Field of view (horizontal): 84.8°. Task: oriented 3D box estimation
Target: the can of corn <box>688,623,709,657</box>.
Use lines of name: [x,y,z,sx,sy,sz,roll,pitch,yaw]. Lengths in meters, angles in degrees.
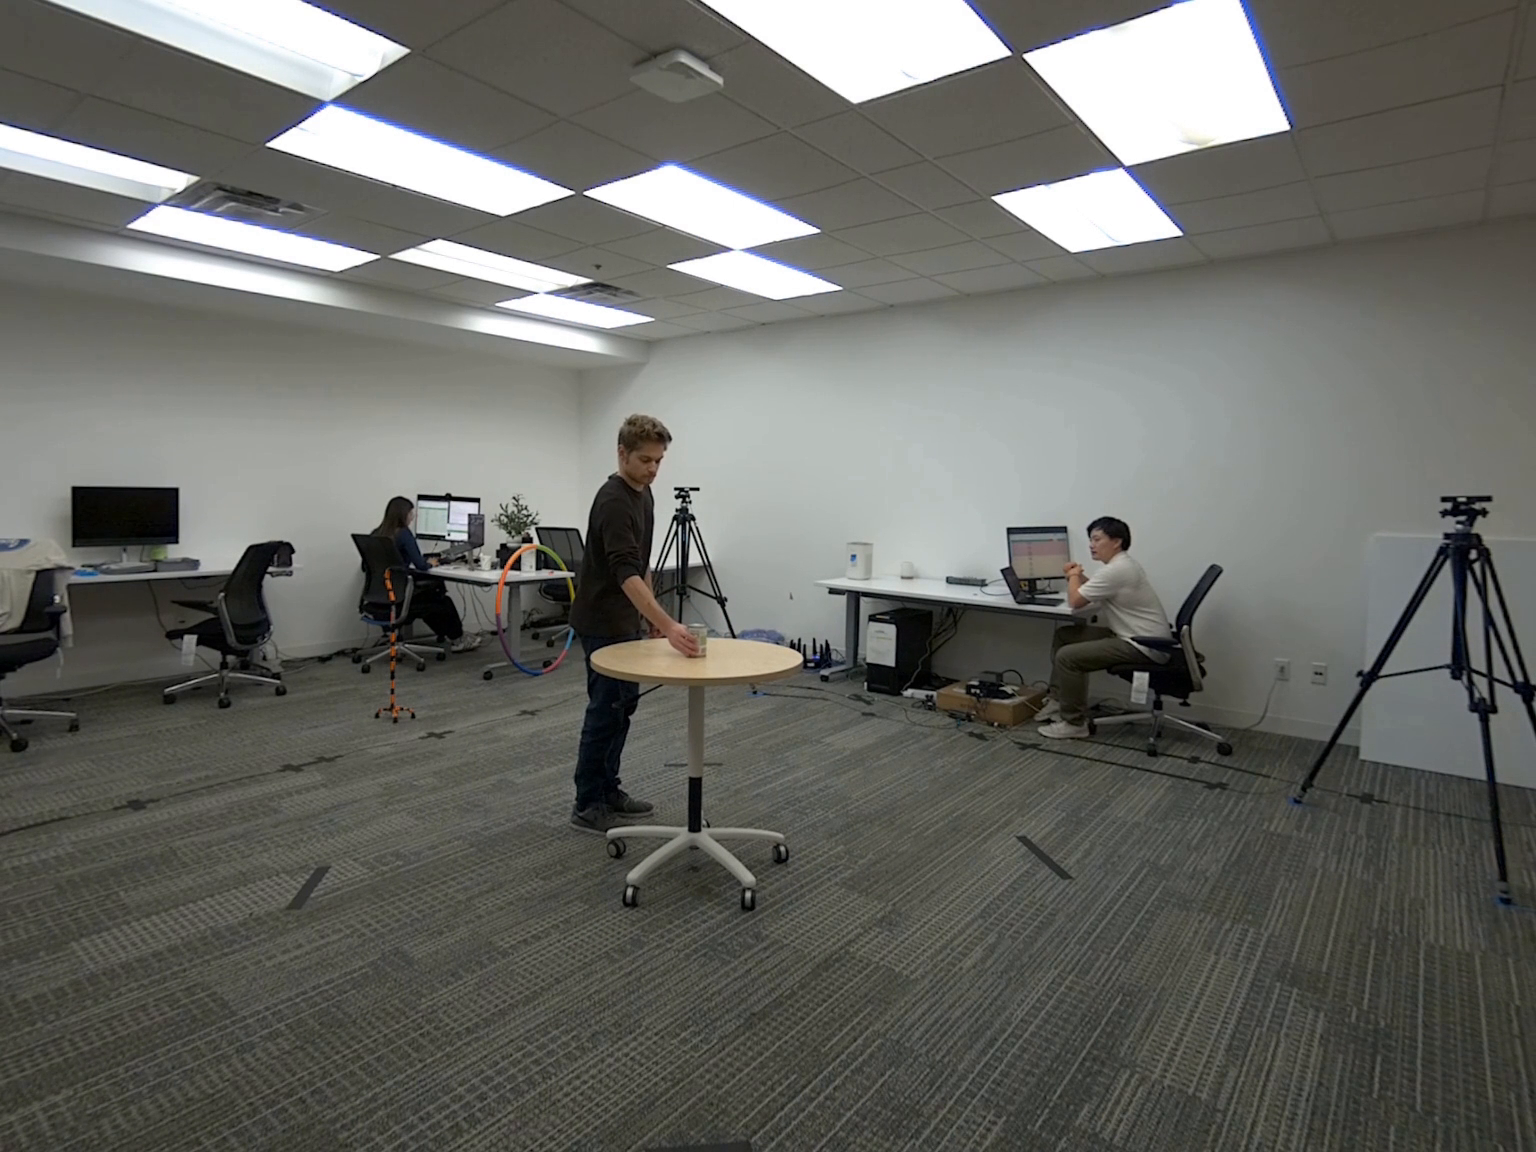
can of corn: [-0.265,0.231,3.052,0.074,0.111,0.074,2,3,-2]
